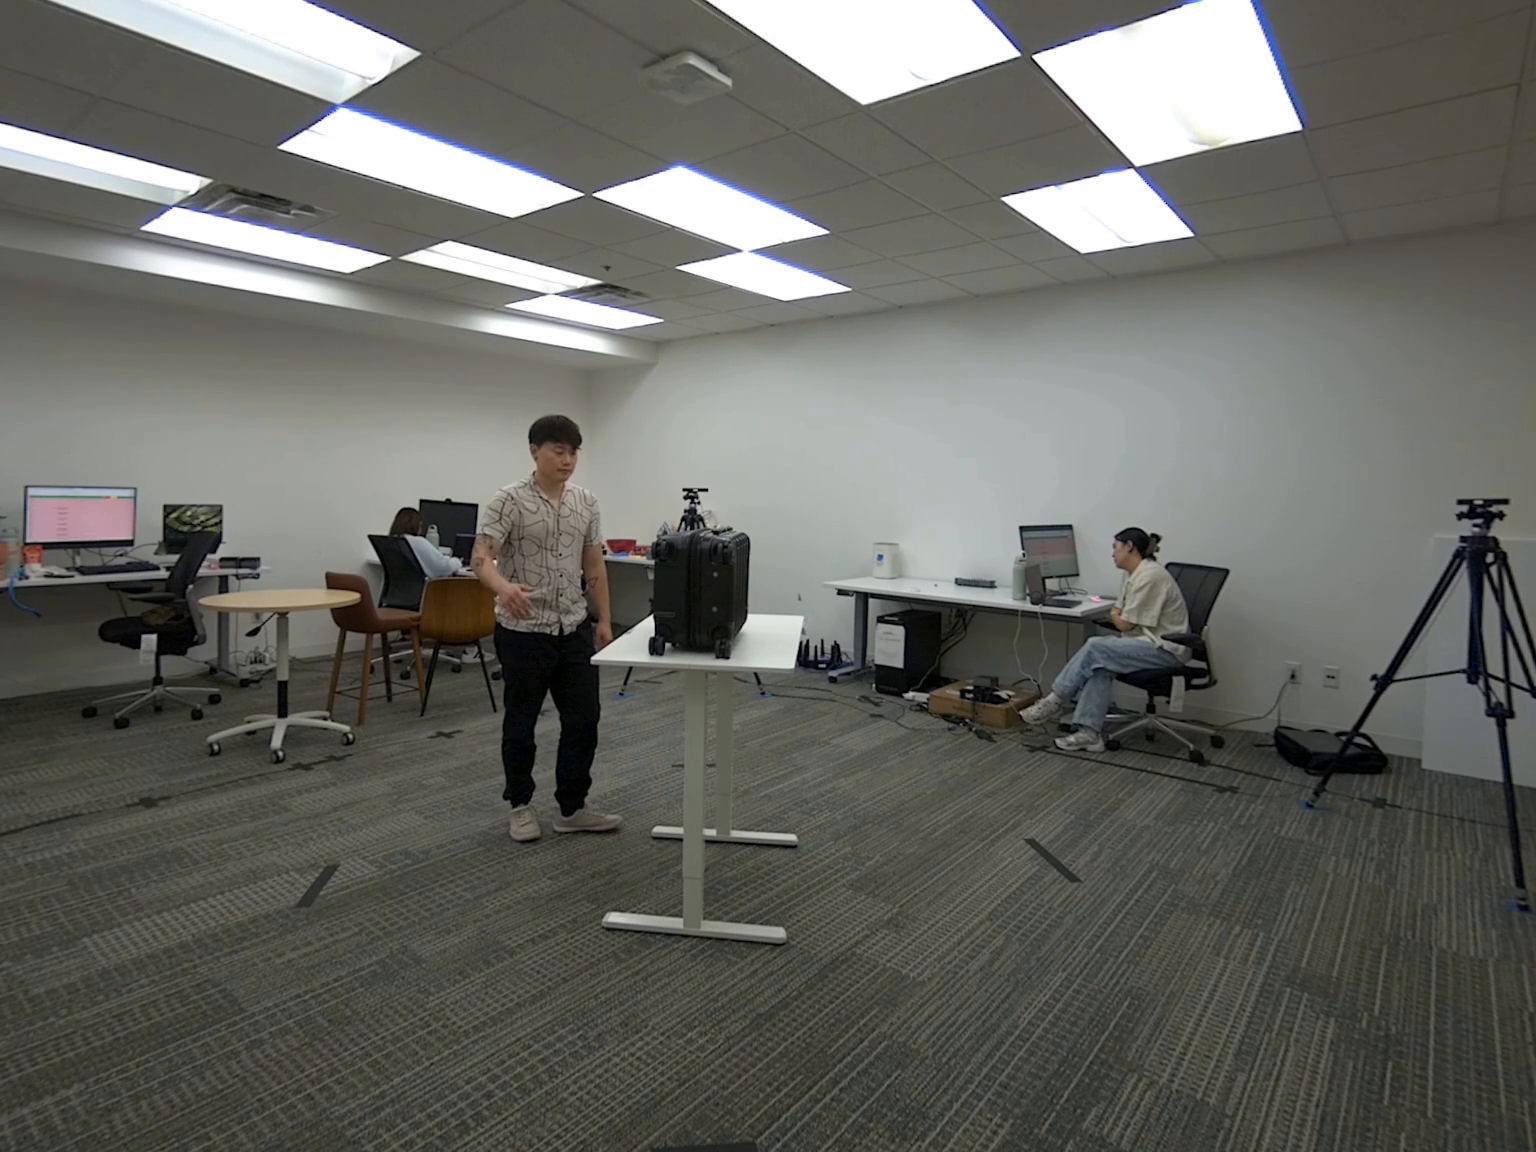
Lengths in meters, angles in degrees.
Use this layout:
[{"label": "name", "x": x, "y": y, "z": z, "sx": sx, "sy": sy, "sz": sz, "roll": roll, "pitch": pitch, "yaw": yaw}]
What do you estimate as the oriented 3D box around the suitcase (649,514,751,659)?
[{"label": "suitcase", "x": -0.216, "y": 0.024, "z": 2.812, "sx": 0.250, "sy": 0.374, "sz": 0.548, "roll": 1, "pitch": 6, "yaw": 6}]
